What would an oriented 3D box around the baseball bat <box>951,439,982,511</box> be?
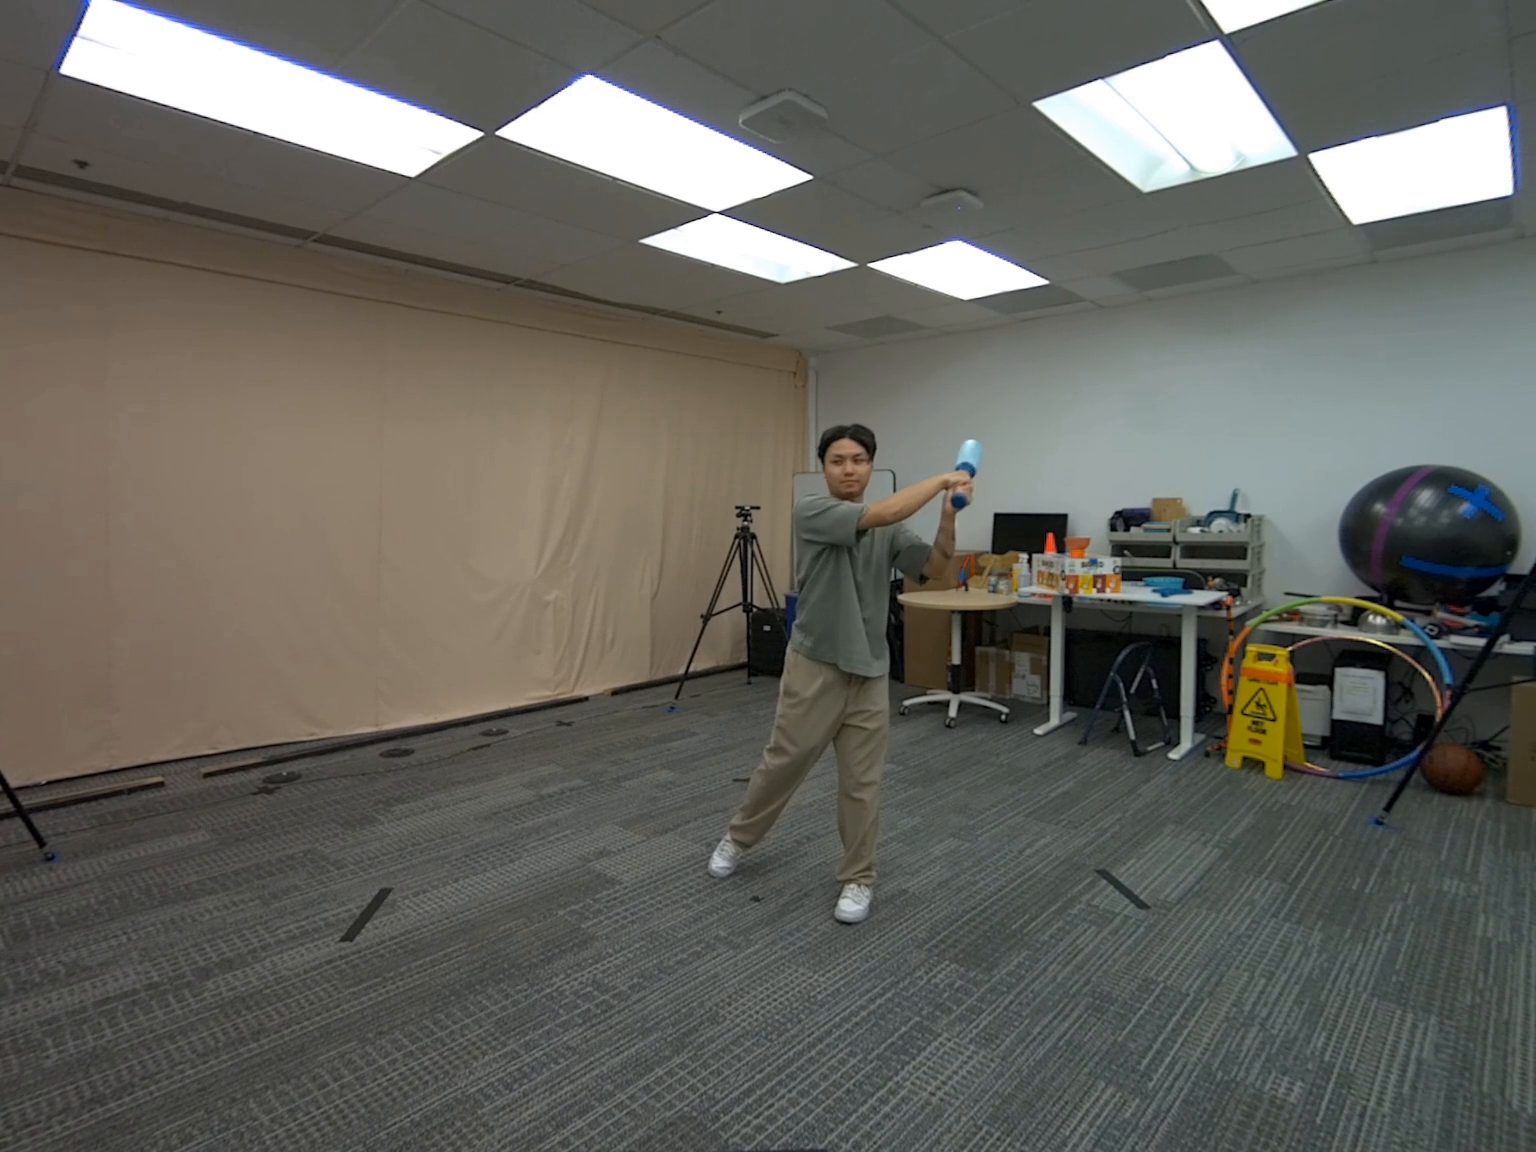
[{"bbox_3d":[0.676,-0.336,2.858,0.091,0.087,0.540,1,26,19],"label":"baseball bat"}]
